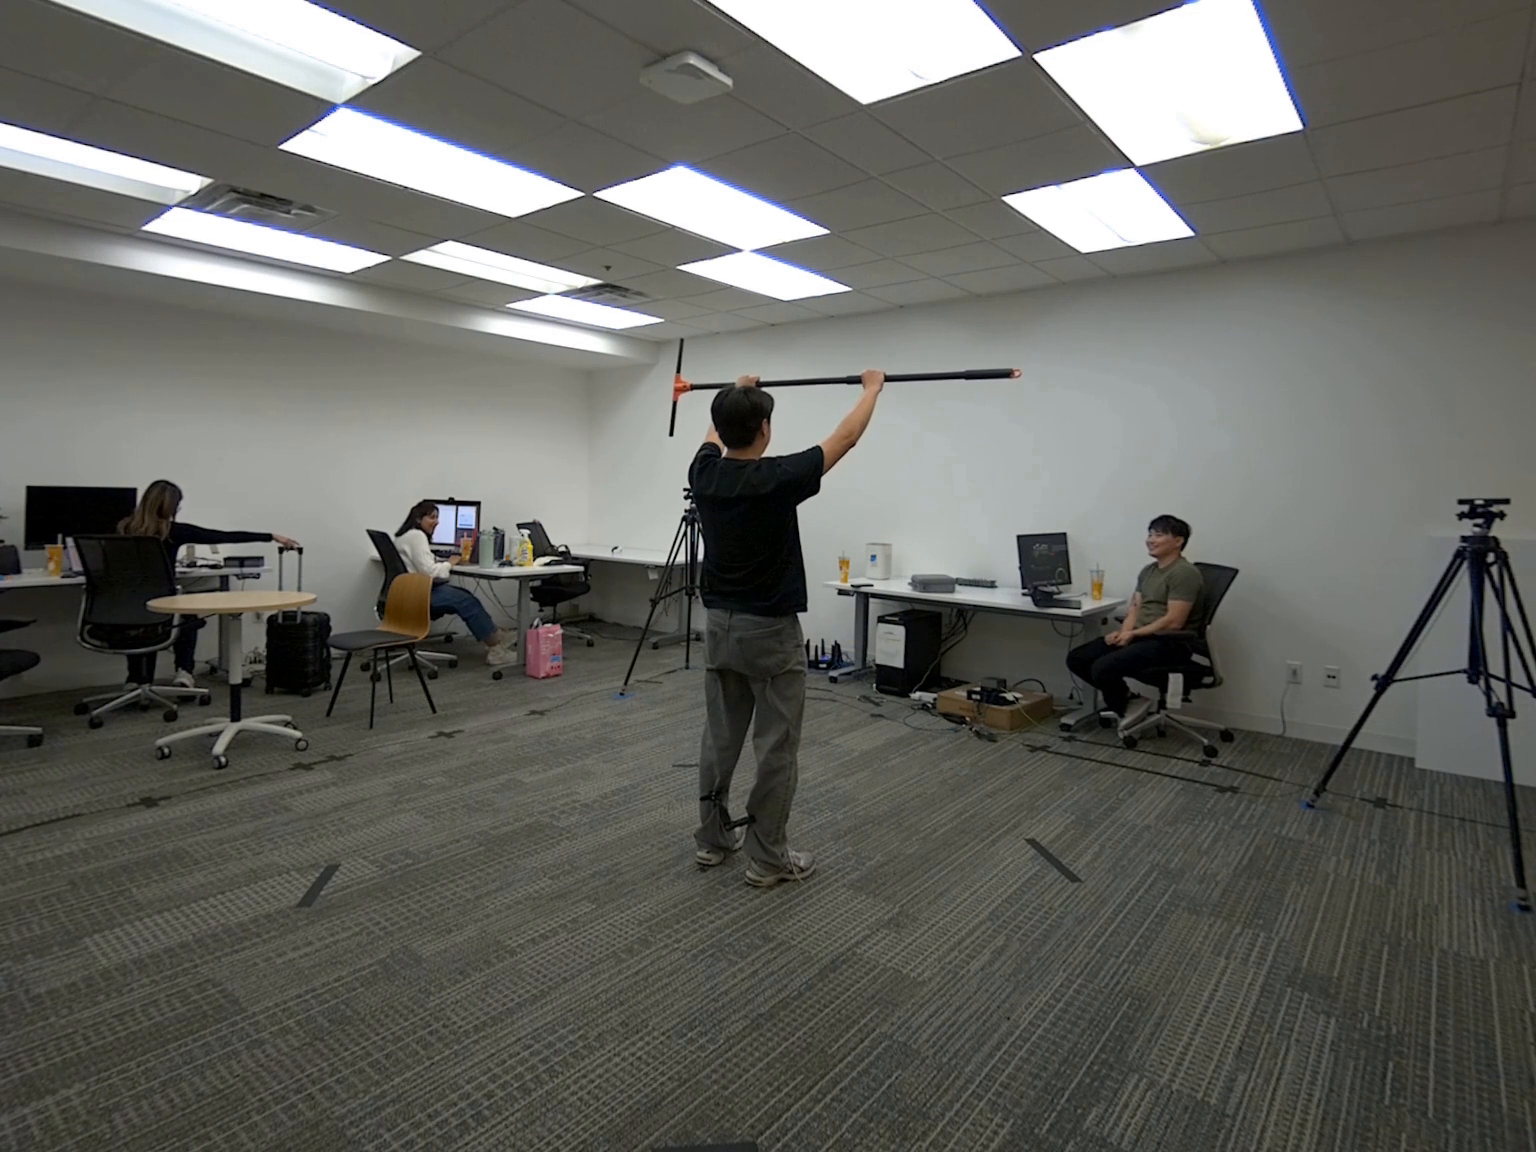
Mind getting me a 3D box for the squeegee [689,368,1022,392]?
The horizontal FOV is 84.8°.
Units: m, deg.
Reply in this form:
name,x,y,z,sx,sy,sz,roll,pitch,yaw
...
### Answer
name,x,y,z,sx,sy,sz,roll,pitch,yaw
squeegee,0.196,-0.753,3.294,1.590,0.438,0.051,8,0,37
